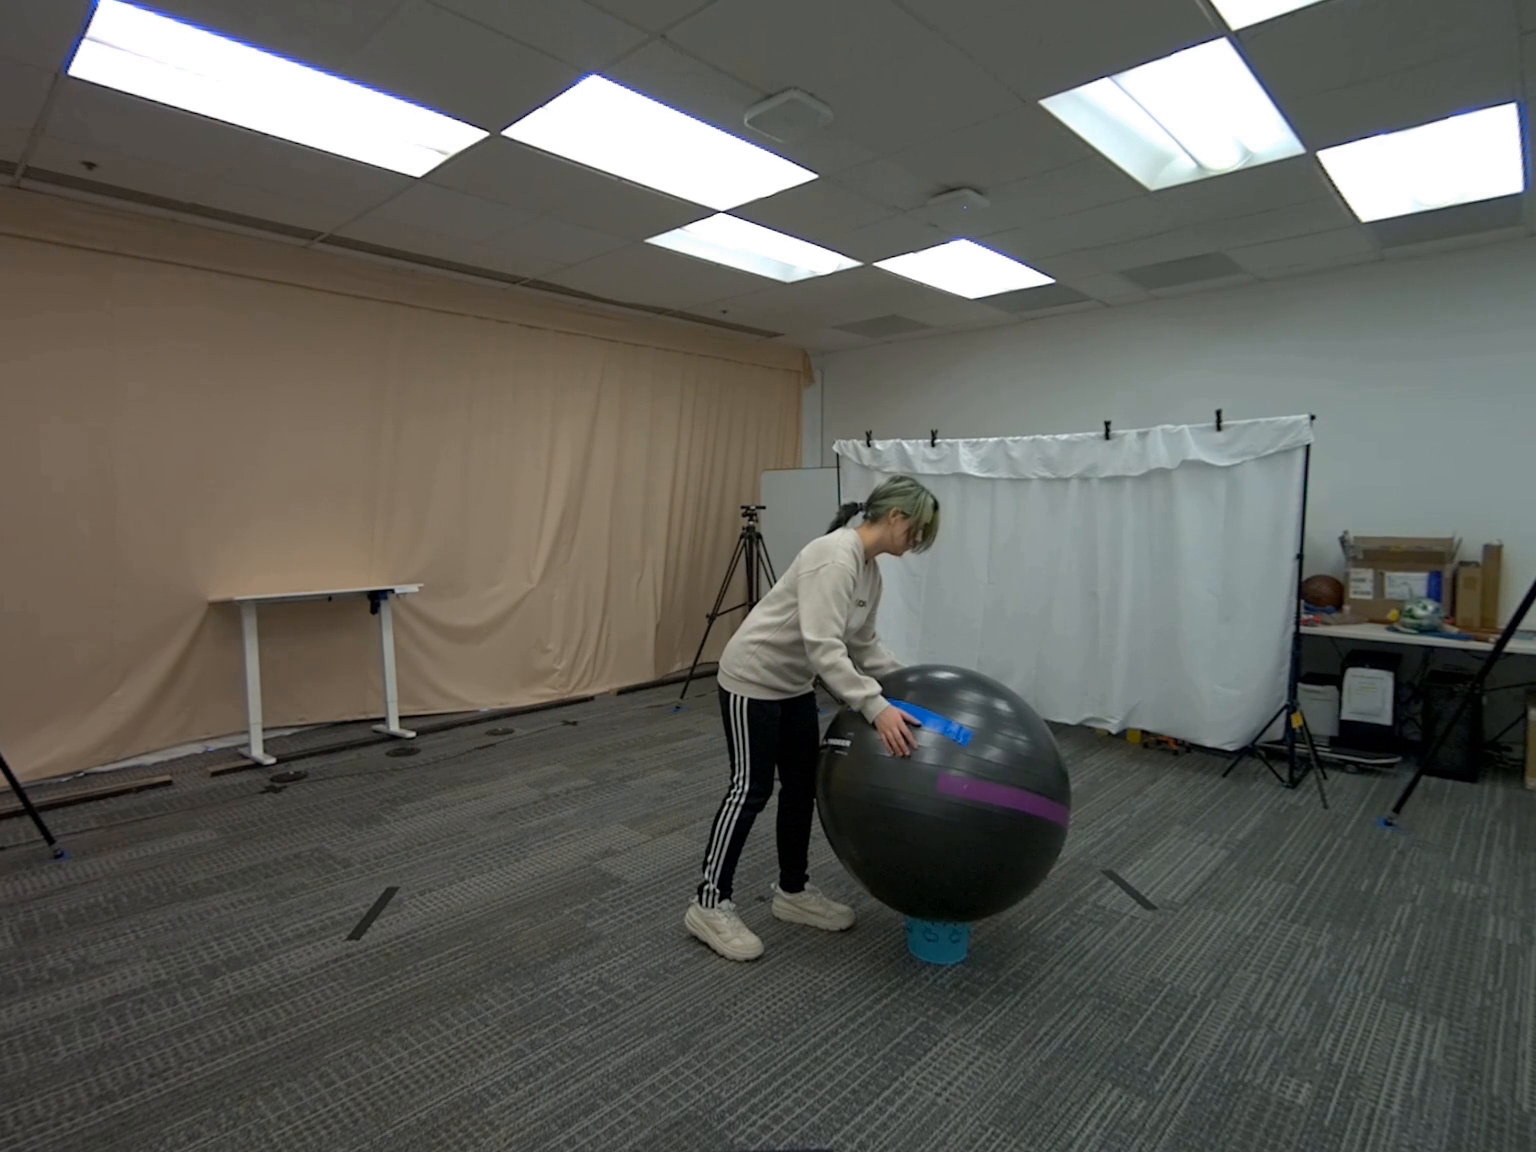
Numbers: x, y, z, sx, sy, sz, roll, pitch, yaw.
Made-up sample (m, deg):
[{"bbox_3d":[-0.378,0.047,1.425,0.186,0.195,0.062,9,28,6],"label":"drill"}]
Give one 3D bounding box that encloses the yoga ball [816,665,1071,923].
[{"bbox_3d":[0.537,0.664,2.597,0.757,0.756,0.760,0,4,-2],"label":"yoga ball"}]
